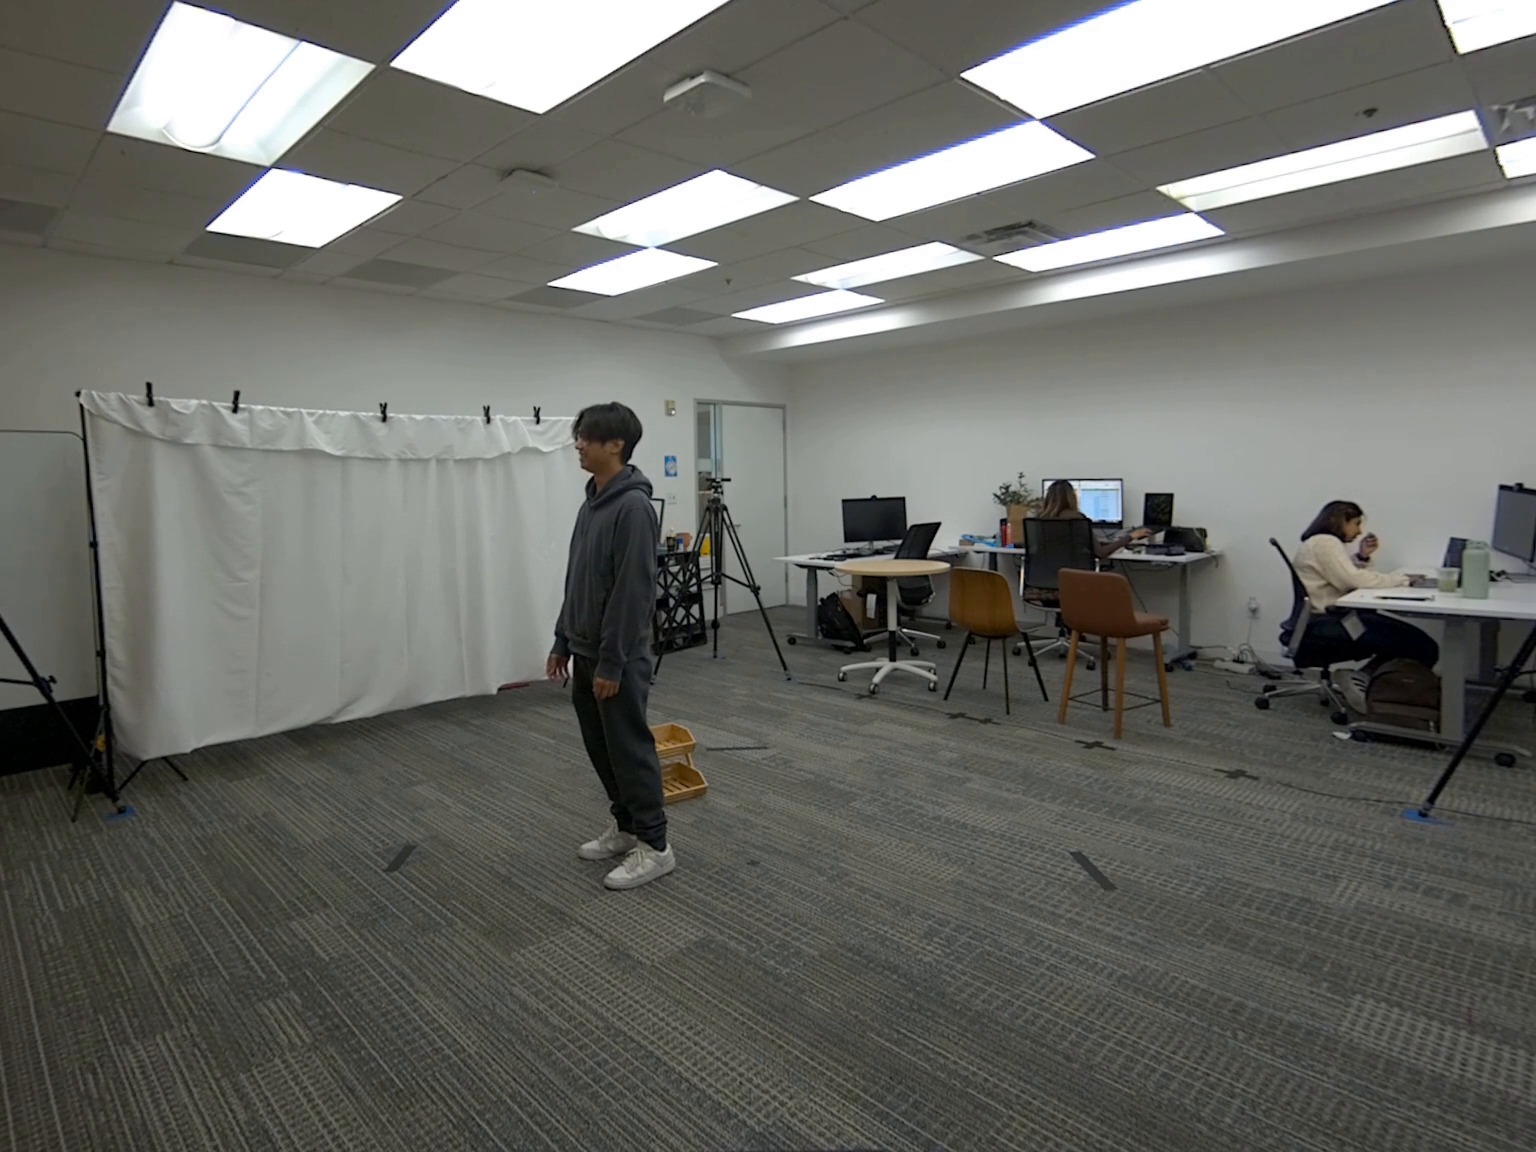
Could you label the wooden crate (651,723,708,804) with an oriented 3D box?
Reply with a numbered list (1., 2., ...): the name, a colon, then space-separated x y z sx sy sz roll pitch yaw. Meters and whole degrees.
1. wooden crate: -0.473 0.833 3.813 0.316 0.272 0.311 -4 5 -35
